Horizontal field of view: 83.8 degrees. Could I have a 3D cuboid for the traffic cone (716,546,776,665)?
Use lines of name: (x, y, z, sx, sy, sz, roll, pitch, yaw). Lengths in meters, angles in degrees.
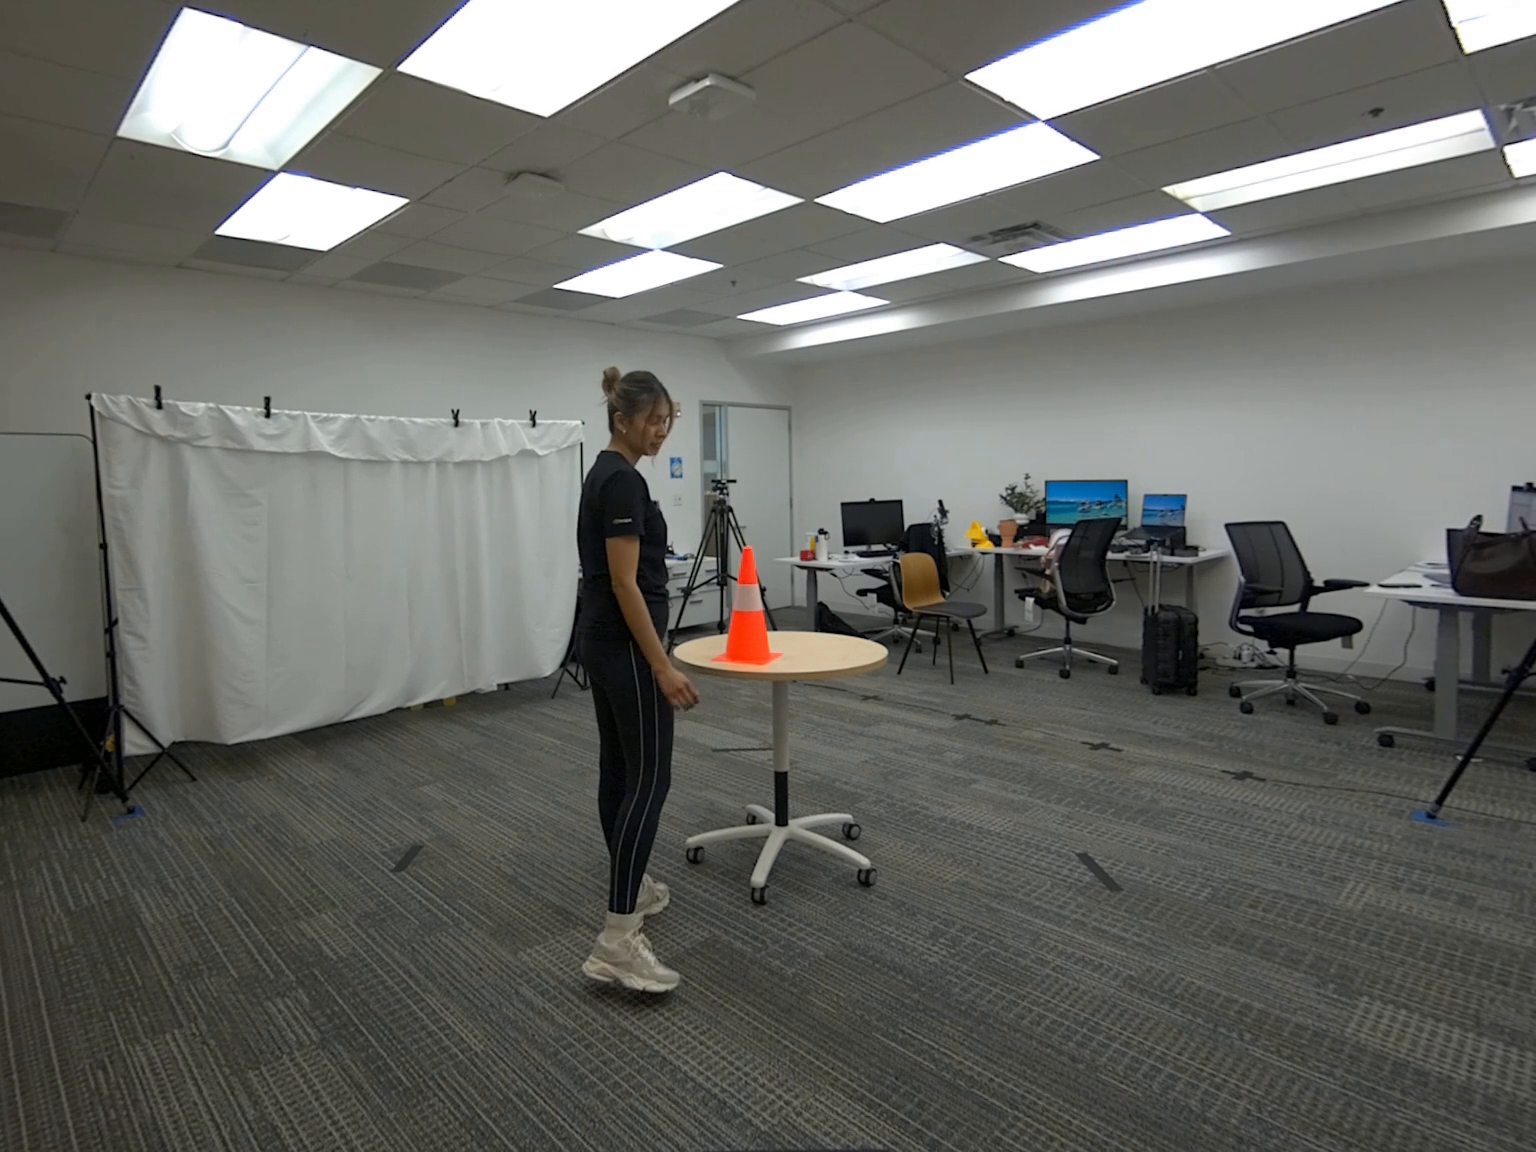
traffic cone: (-0.072, 0.097, 2.928, 0.207, 0.382, 0.202, 0, 5, 18)
